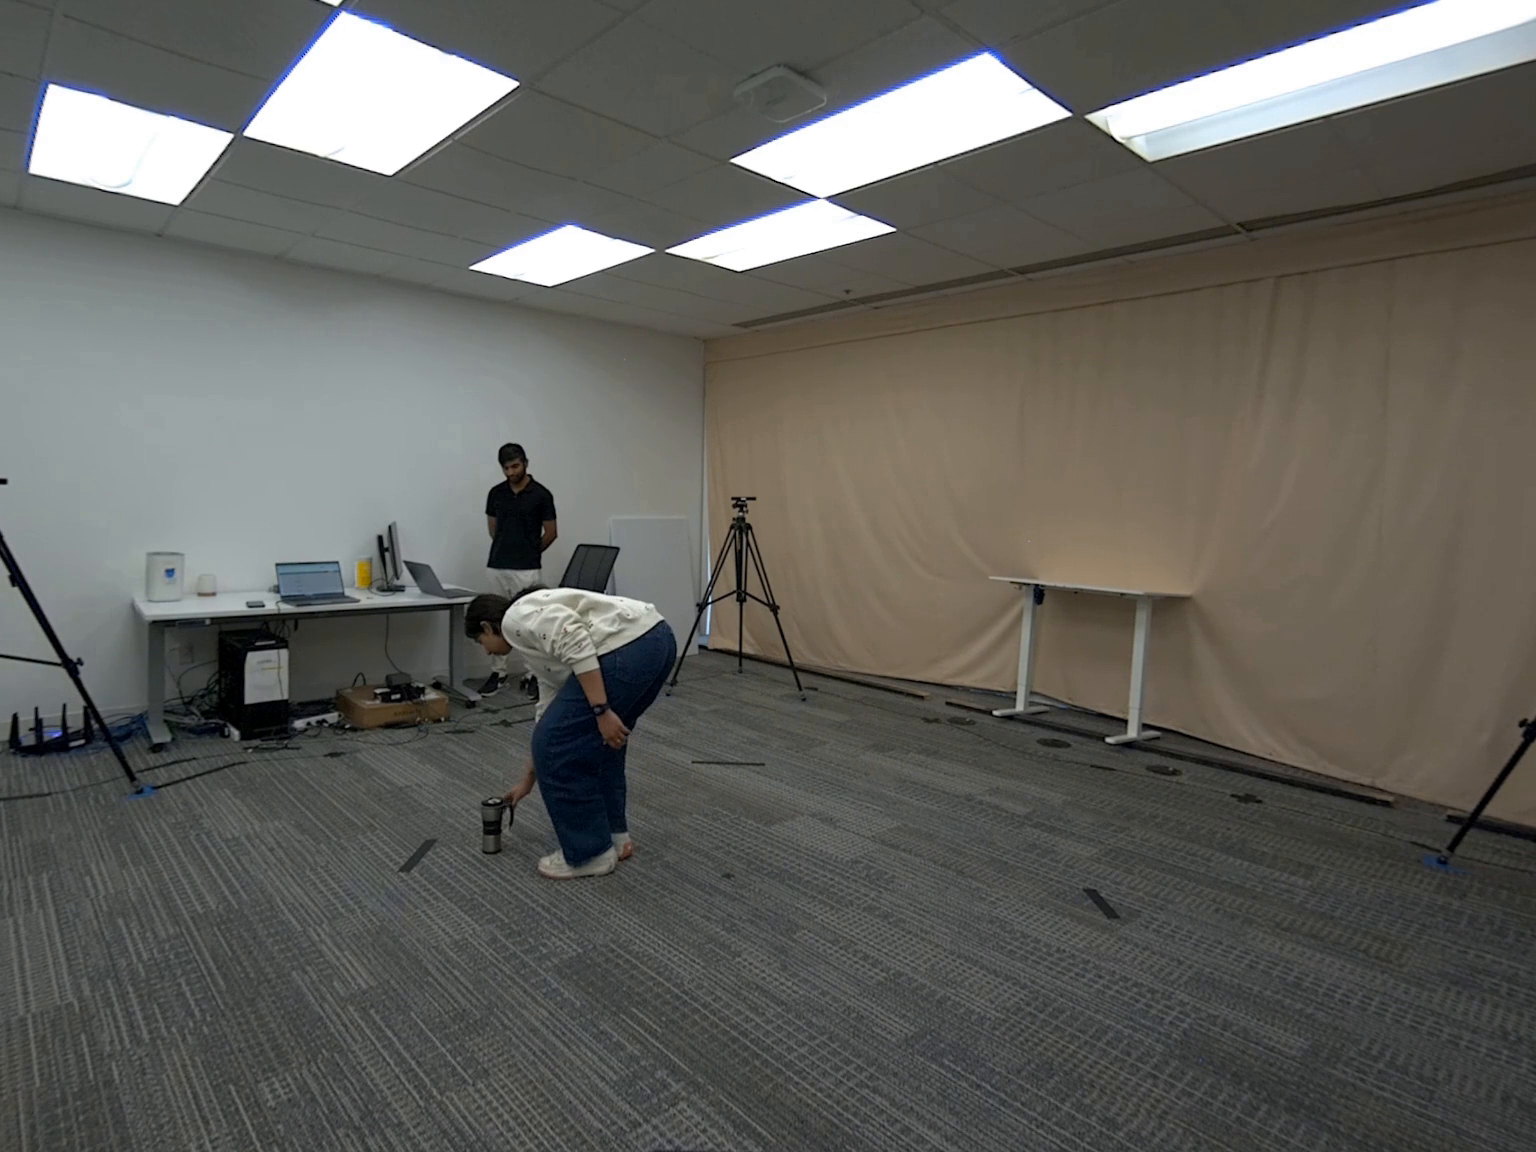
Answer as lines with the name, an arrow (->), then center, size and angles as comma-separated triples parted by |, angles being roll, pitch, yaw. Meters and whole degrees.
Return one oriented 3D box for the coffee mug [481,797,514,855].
coffee mug -> -1.062, 0.969, 3.260 | 0.125, 0.203, 0.086 | 1, 1, 34
